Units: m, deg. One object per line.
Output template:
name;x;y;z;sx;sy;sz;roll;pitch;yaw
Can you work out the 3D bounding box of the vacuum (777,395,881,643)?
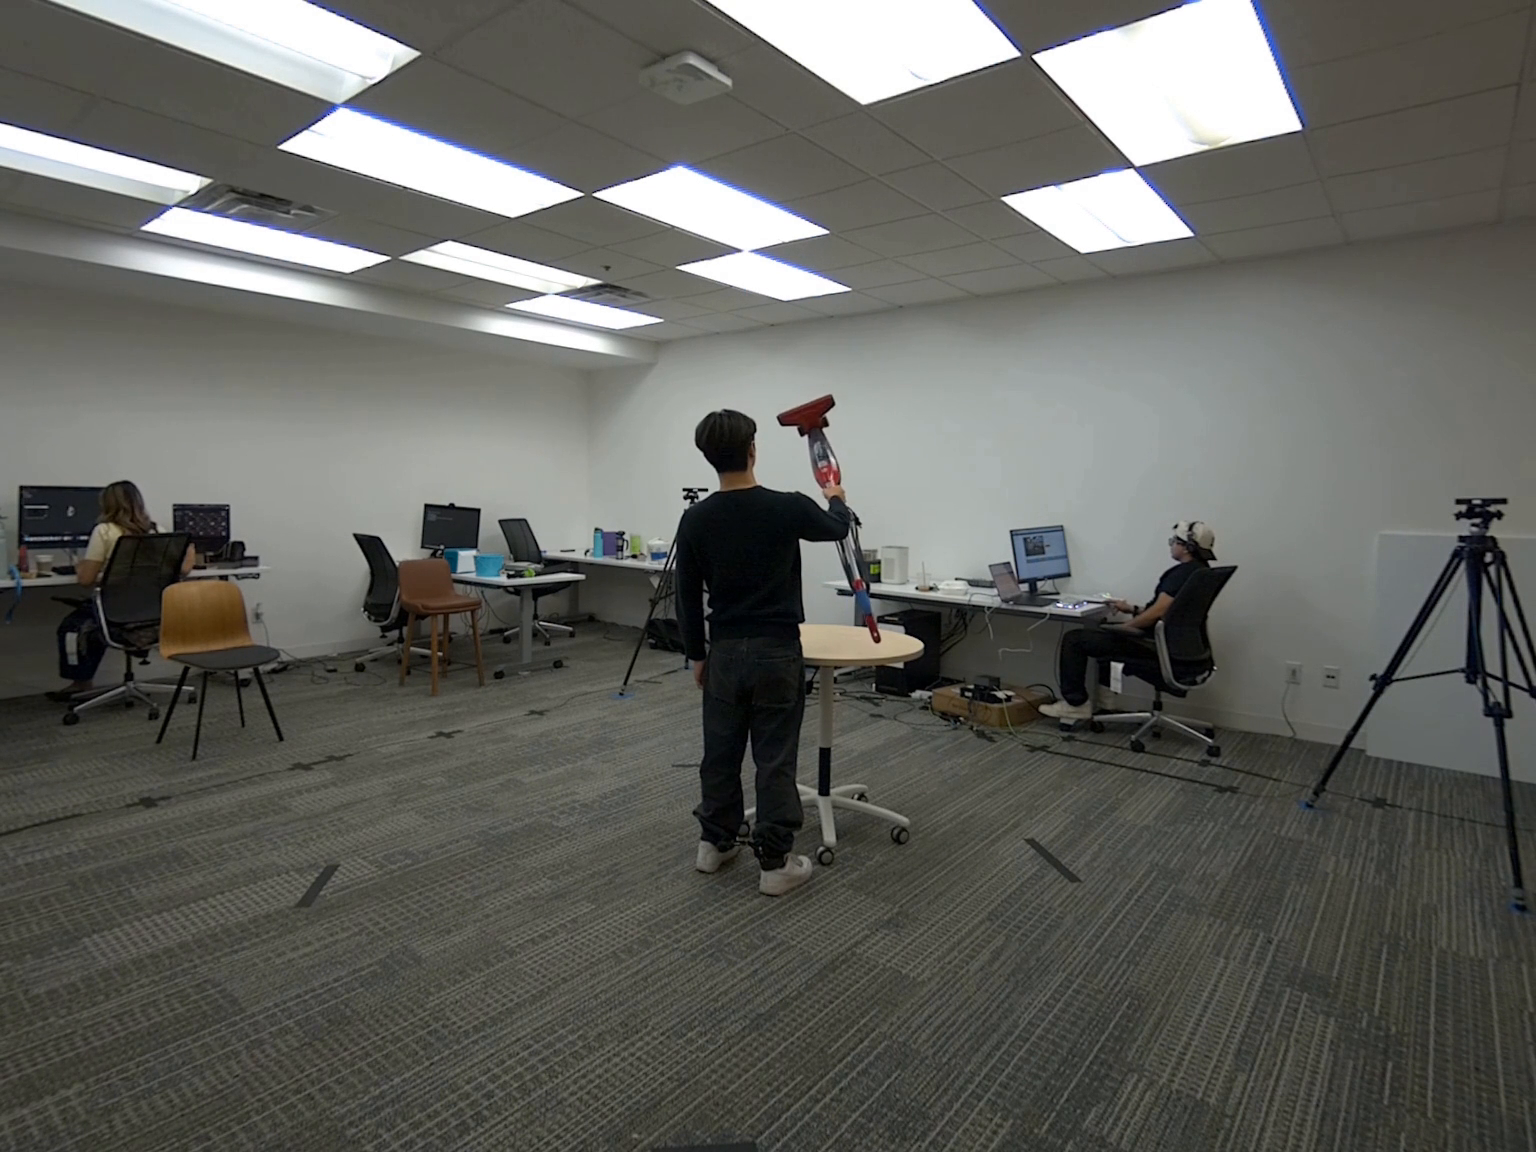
vacuum;0.292;-0.225;3.425;0.255;1.078;0.139;-21;-25;13
